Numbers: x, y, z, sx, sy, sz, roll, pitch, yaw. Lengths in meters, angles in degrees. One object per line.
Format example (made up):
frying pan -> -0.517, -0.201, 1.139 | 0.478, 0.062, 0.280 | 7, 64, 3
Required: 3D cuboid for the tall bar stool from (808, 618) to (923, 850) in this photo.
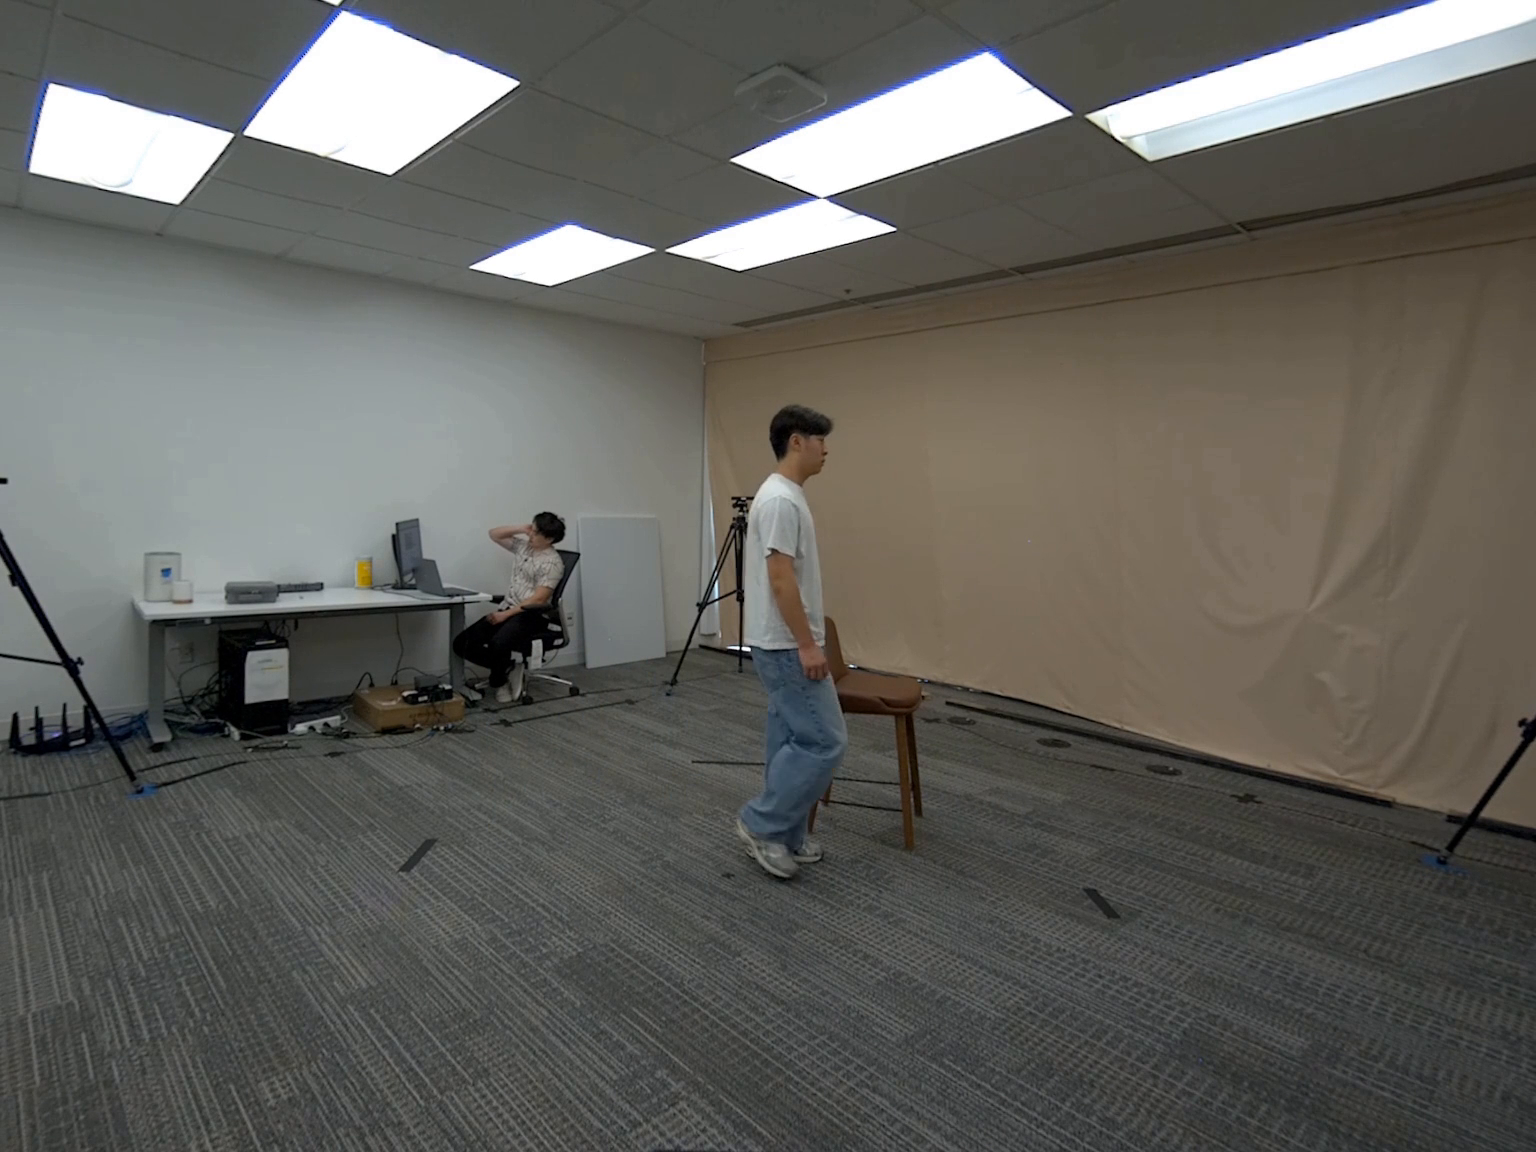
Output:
tall bar stool -> 0.418, 0.641, 3.626 | 0.474, 0.888, 0.451 | 1, 2, 17
